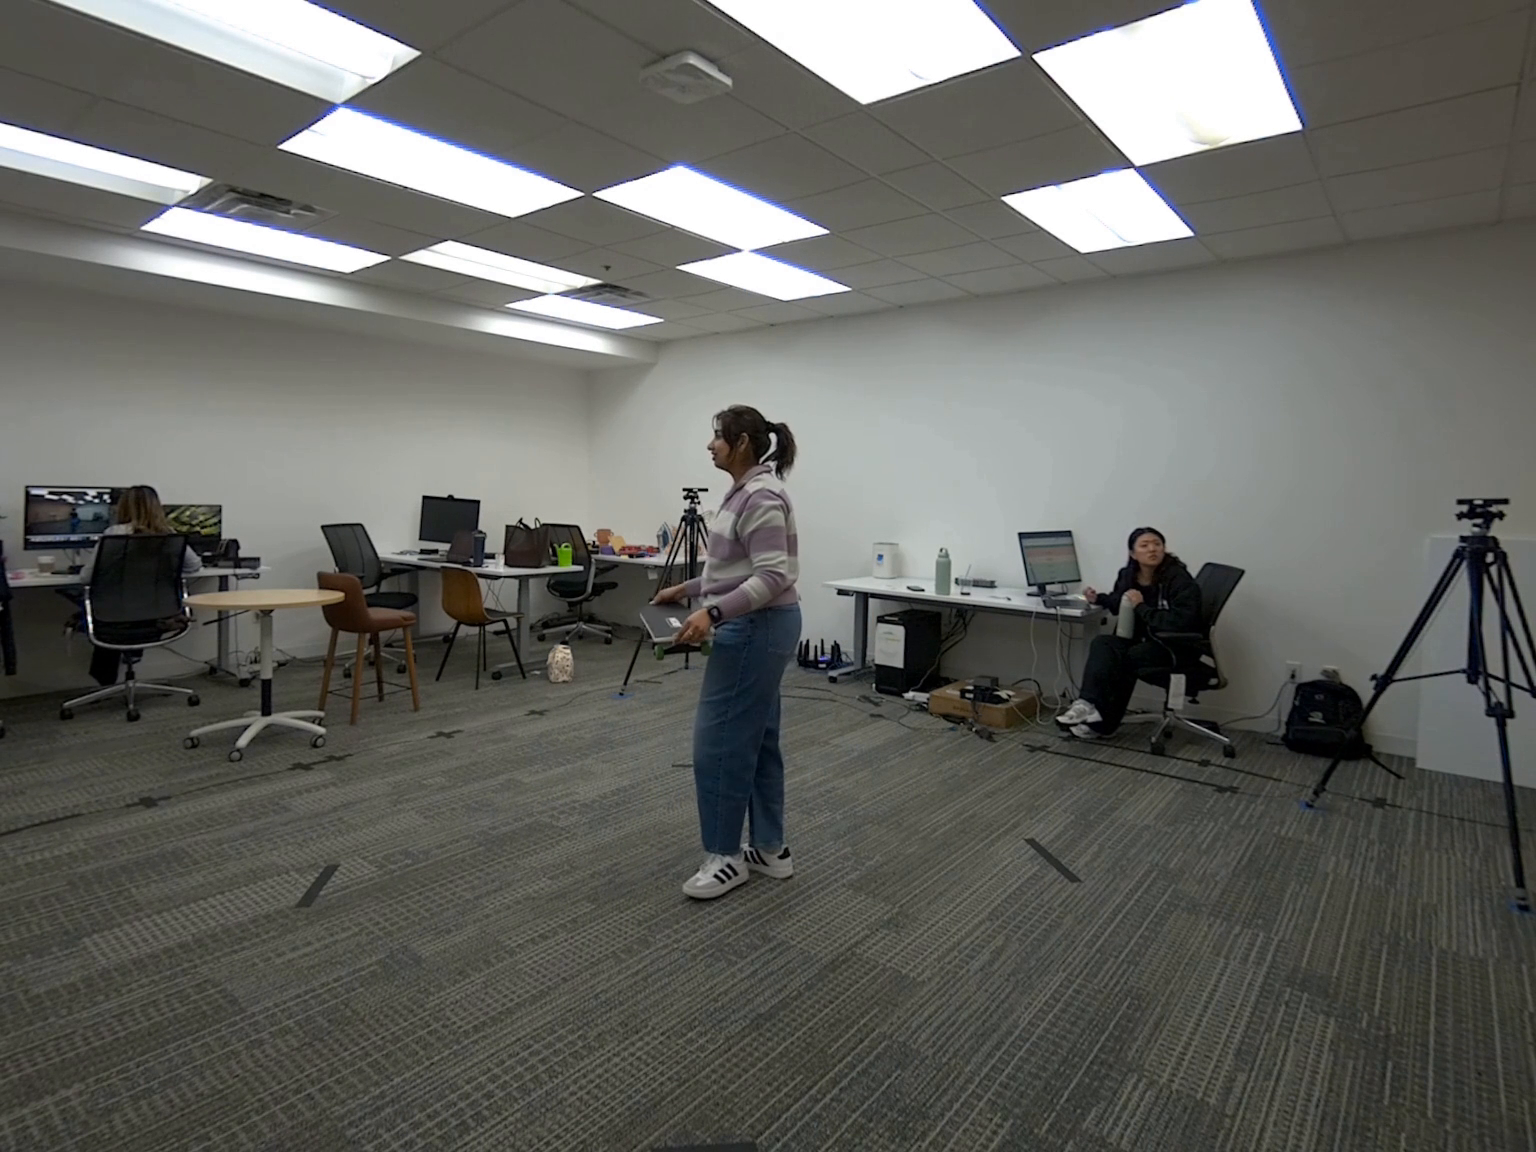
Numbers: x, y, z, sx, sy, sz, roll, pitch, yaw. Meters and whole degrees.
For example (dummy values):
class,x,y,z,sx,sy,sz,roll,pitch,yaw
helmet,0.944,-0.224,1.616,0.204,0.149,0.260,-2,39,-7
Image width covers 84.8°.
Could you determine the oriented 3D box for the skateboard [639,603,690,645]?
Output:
class,x,y,z,sx,sy,sz,roll,pitch,yaw
skateboard,-0.344,0.195,3.030,0.192,0.110,0.795,-9,7,-9
